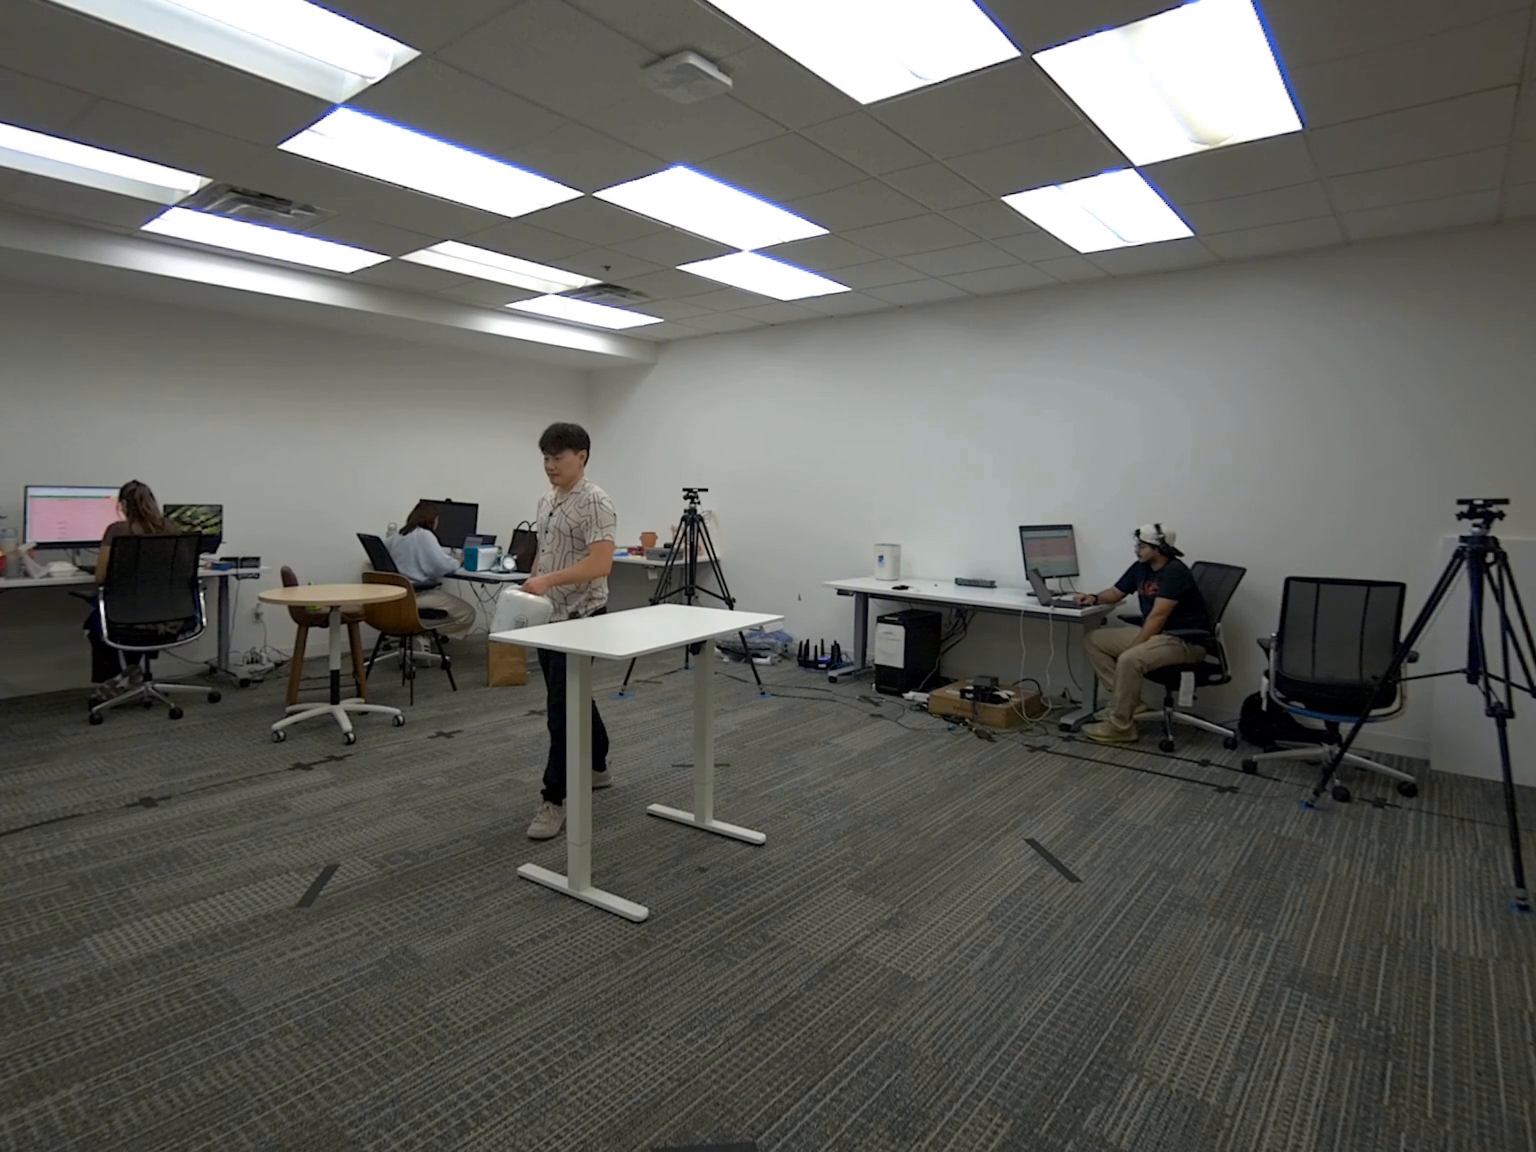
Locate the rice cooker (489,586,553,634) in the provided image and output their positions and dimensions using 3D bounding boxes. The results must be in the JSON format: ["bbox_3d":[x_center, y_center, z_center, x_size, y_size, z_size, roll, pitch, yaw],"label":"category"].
[{"bbox_3d":[-0.992,0.151,3.360,0.217,0.233,0.220,16,-5,-13],"label":"rice cooker"}]
